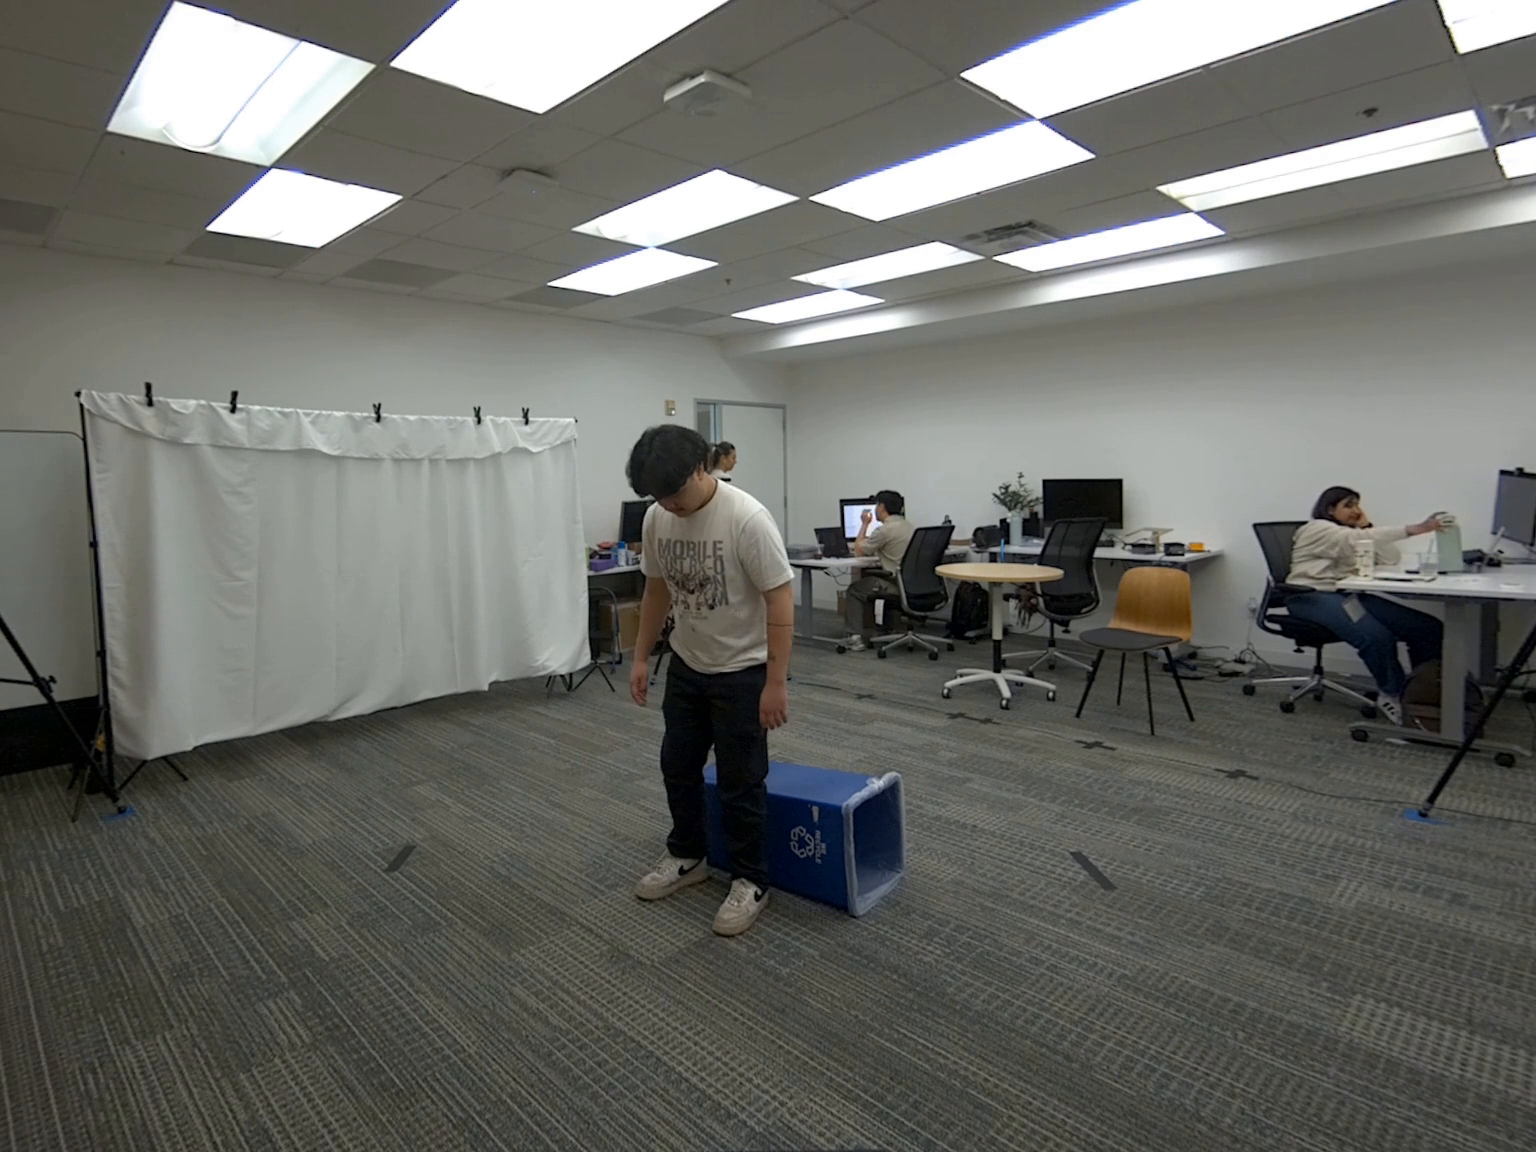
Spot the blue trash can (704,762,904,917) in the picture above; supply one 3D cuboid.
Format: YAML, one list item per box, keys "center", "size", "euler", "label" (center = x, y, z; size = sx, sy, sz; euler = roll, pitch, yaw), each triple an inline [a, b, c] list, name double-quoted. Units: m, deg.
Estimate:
- center: [0.081, 0.883, 3.050]
  size: [0.733, 0.373, 0.369]
  euler: [-1, 5, 36]
  label: "blue trash can"
